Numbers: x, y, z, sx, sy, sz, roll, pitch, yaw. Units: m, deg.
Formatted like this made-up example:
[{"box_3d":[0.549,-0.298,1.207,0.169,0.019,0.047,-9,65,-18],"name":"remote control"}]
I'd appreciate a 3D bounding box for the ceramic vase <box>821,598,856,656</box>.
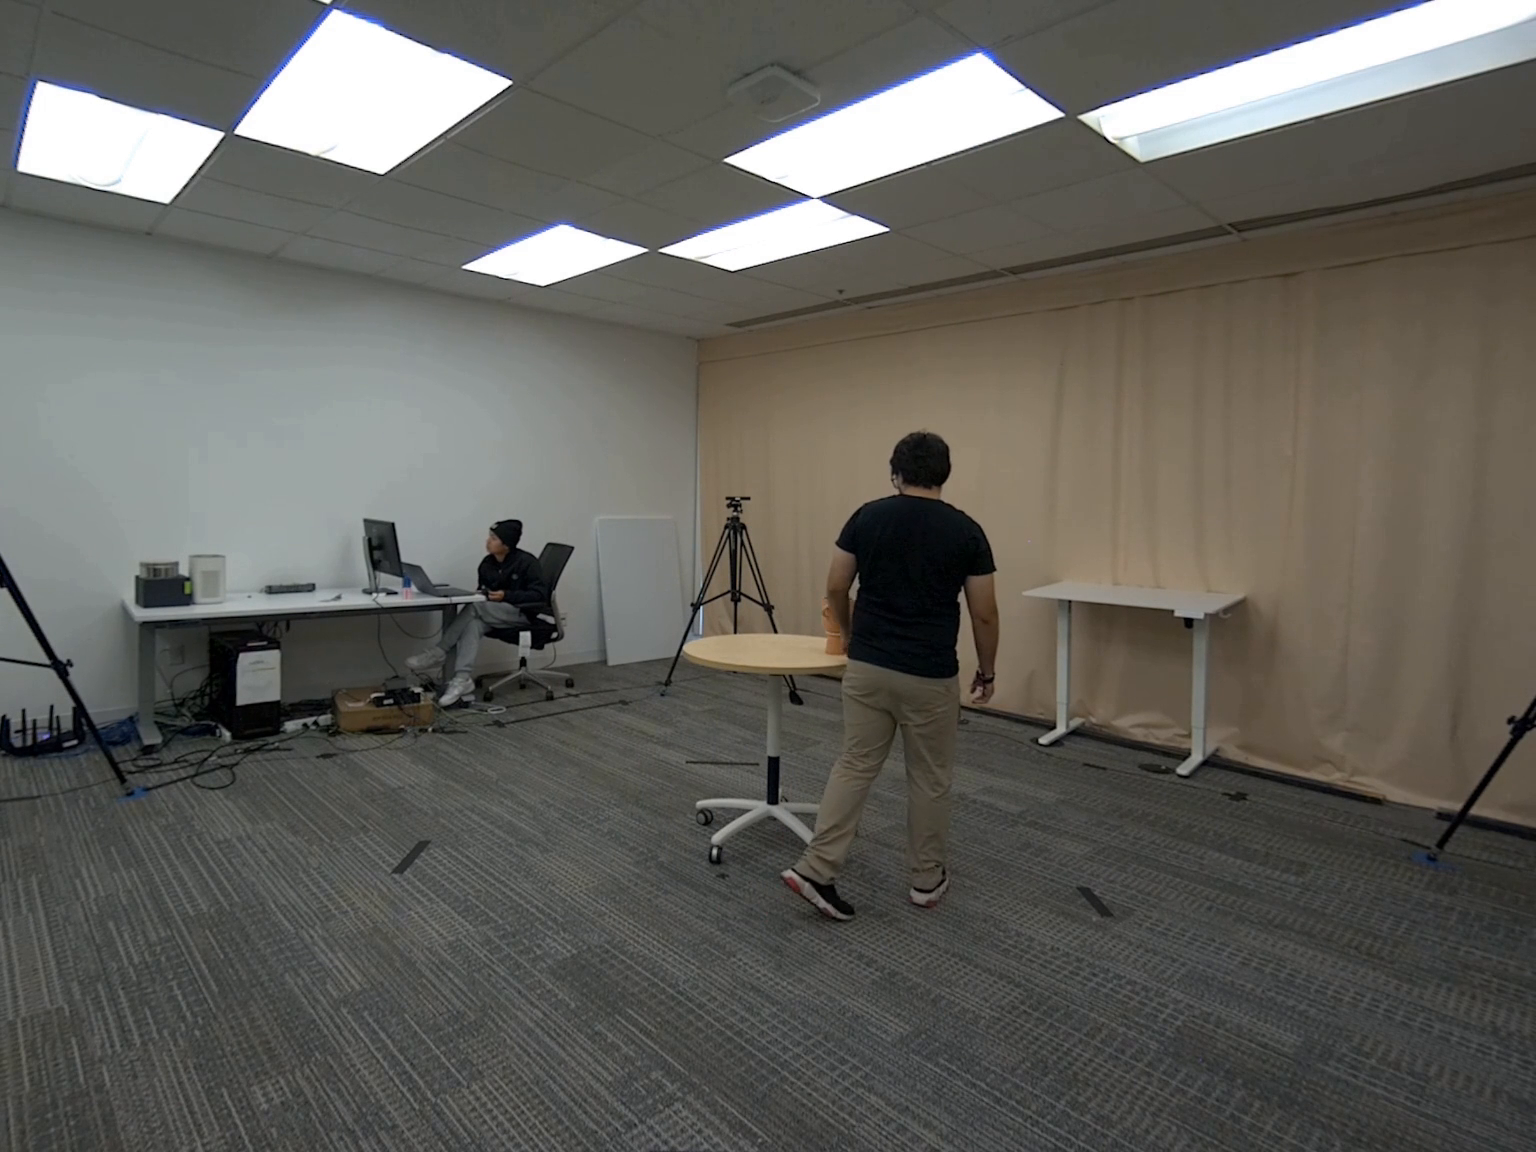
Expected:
[{"box_3d":[0.276,0.201,3.375,0.158,0.219,0.135,1,2,-6],"name":"ceramic vase"}]
